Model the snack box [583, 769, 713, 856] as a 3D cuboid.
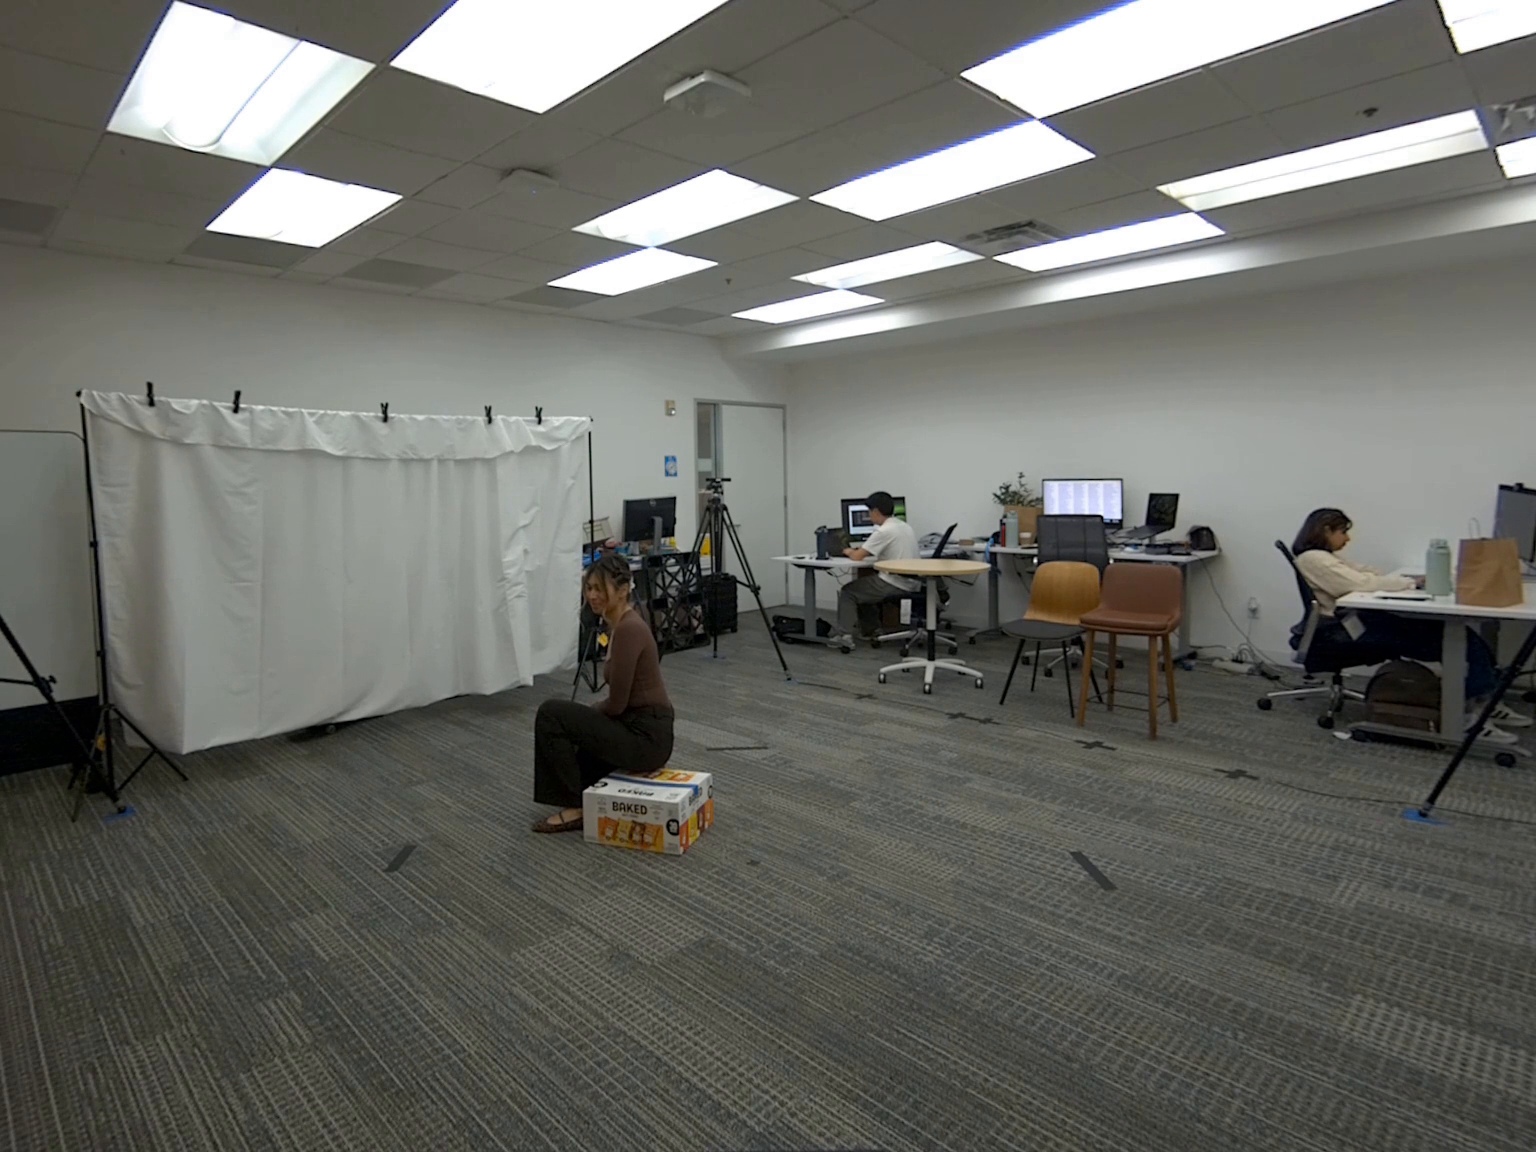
[{"bbox_3d":[-0.469,0.919,3.387,0.413,0.205,0.335,1,5,20],"label":"snack box"}]
